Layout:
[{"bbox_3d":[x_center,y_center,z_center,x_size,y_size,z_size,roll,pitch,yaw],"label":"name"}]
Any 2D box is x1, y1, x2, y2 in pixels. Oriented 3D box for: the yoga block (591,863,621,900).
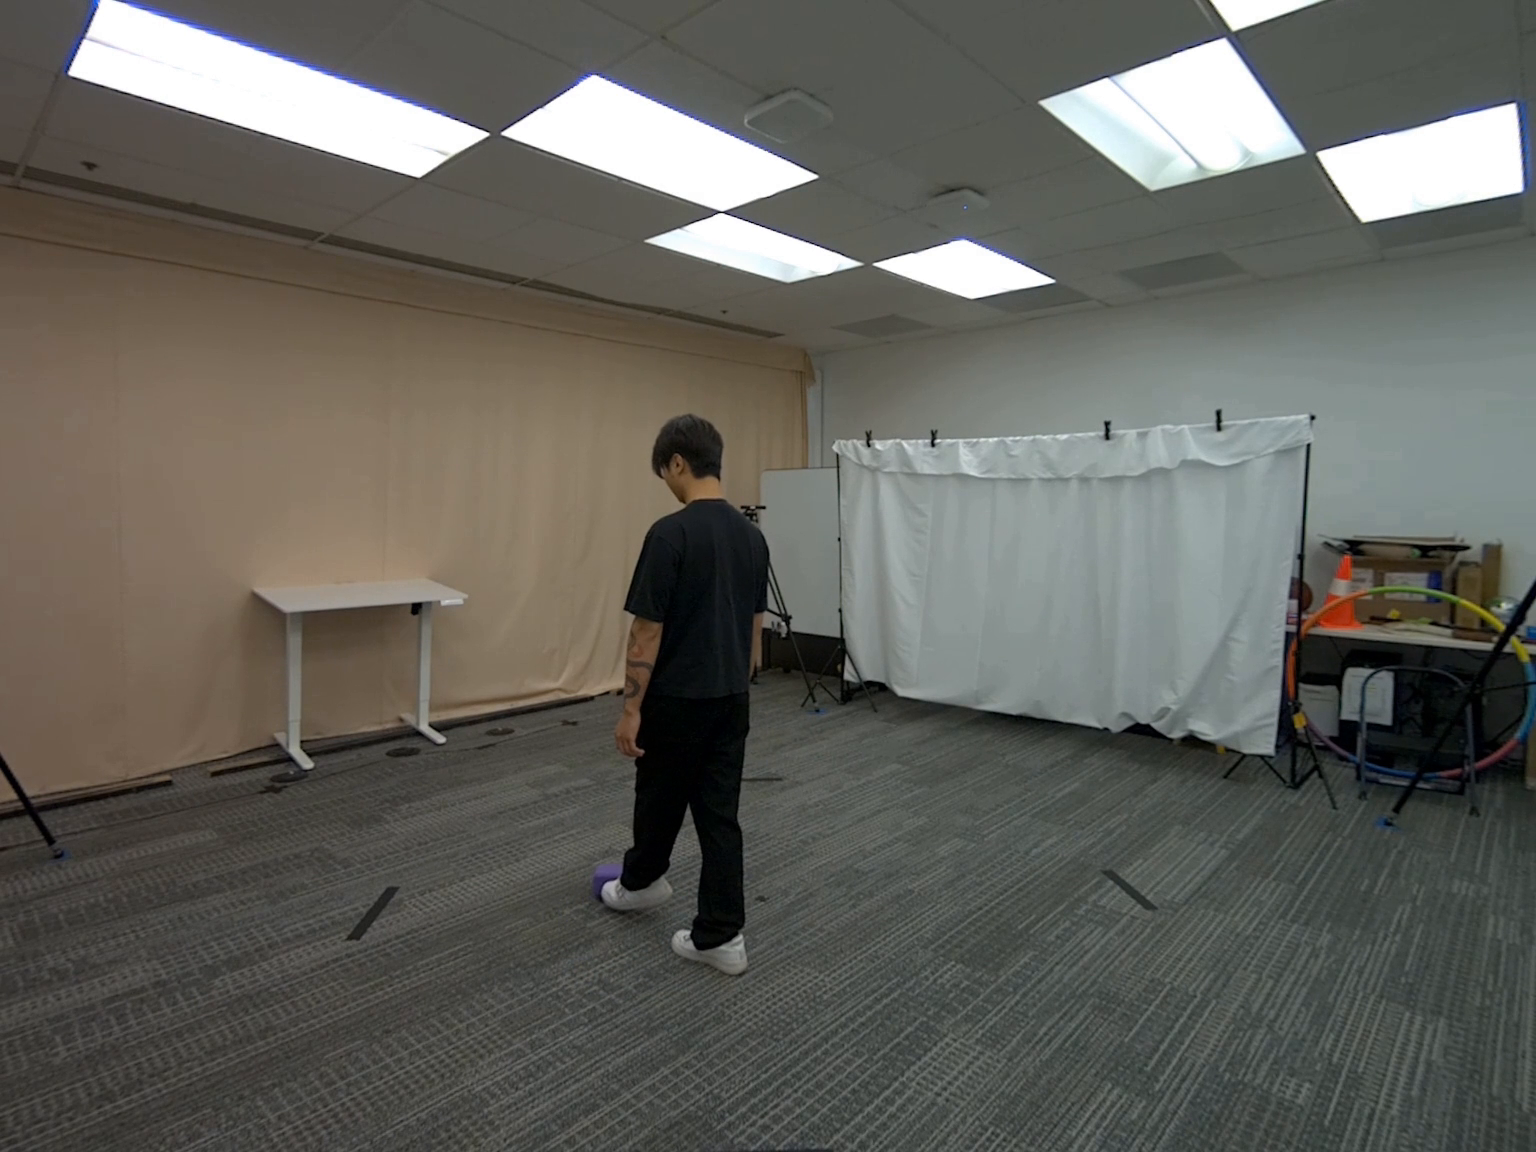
[{"bbox_3d":[-0.512,1.094,3.036,0.229,0.076,0.149,1,-2,-3],"label":"yoga block"}]
